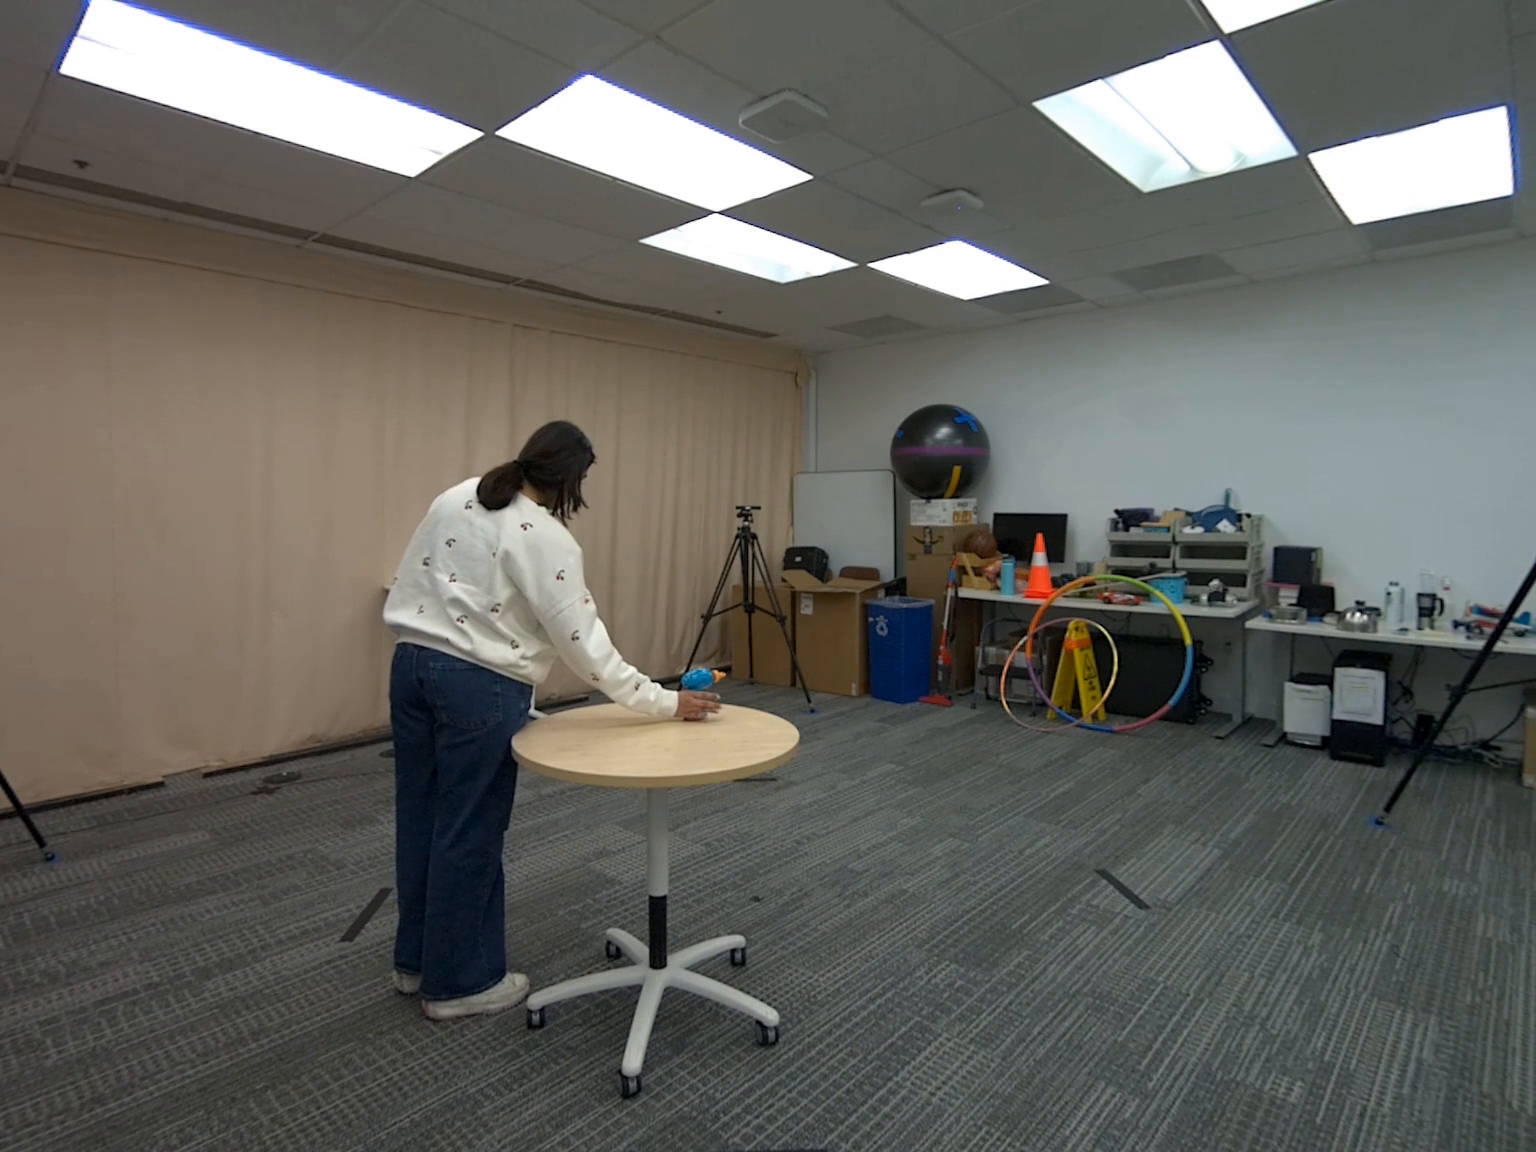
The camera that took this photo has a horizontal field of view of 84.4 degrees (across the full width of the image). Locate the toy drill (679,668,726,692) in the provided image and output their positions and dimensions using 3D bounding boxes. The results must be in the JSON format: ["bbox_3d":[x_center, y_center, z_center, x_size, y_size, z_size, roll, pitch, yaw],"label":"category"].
[{"bbox_3d":[-0.186,0.340,2.431,0.063,0.146,0.165,2,4,44],"label":"toy drill"}]
